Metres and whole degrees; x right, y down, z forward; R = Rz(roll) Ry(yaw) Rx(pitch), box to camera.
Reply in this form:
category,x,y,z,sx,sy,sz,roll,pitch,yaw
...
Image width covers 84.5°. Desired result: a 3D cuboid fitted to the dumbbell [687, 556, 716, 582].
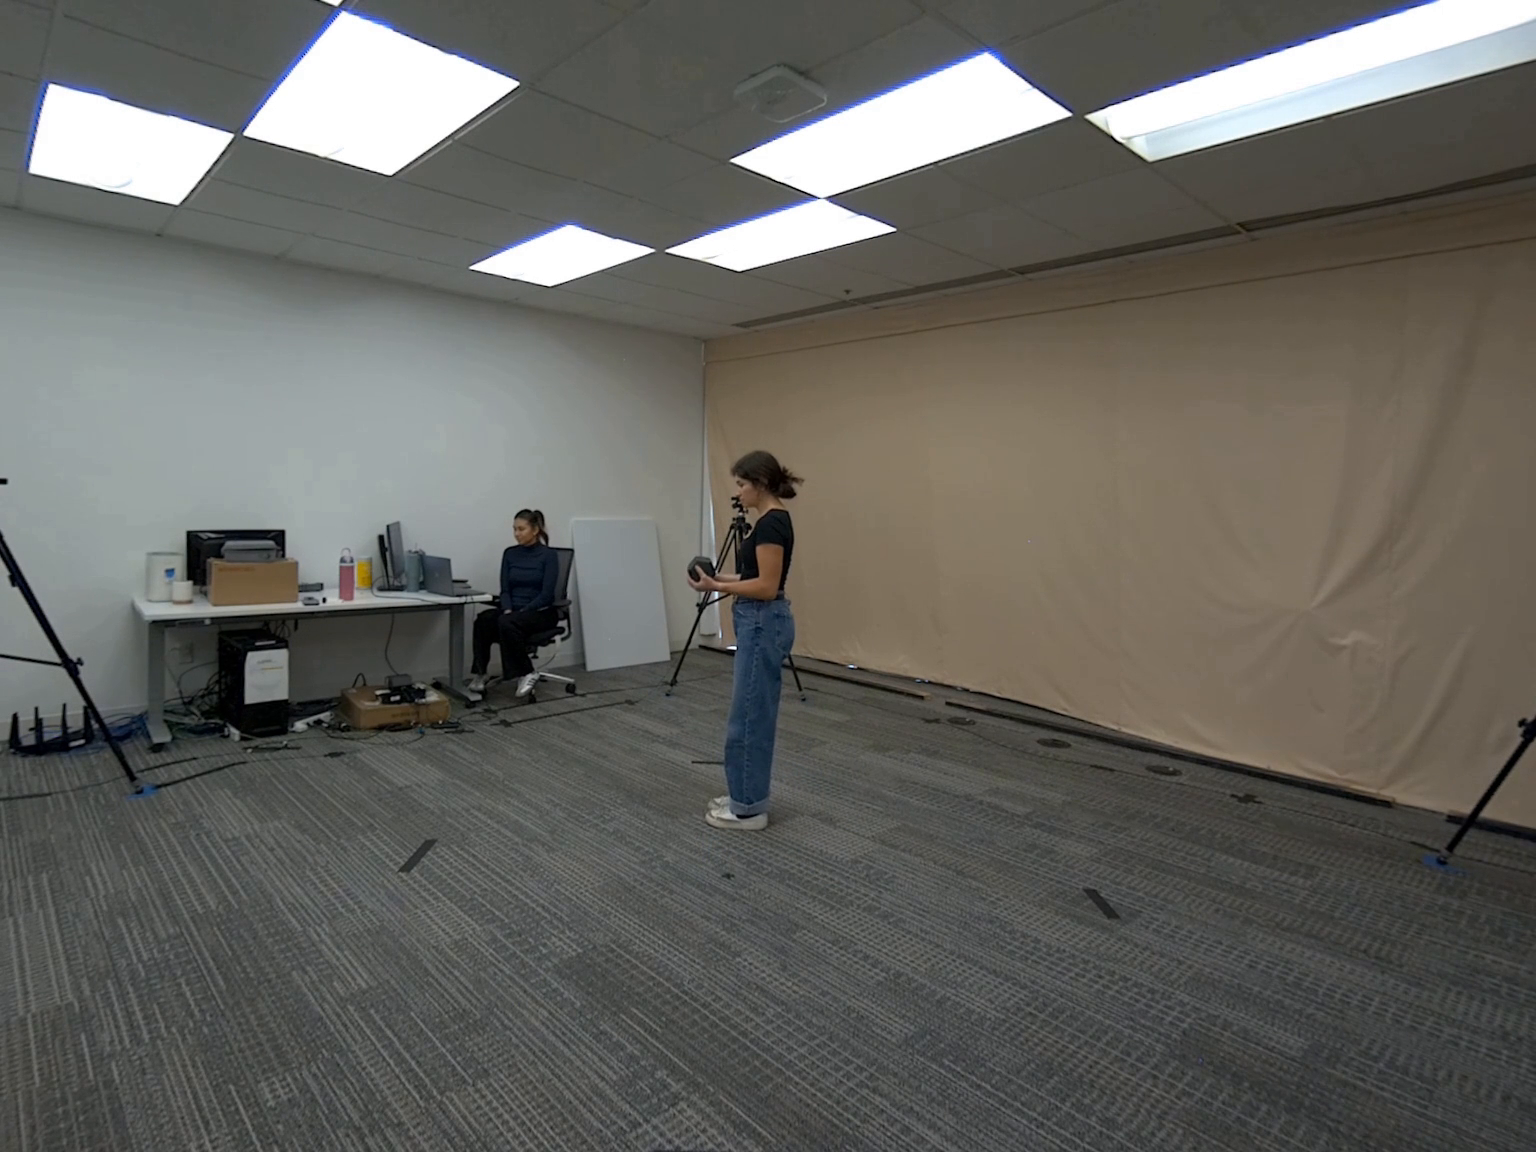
category,x,y,z,sx,sy,sz,roll,pitch,yaw
dumbbell,-0.287,-0.030,3.635,0.108,0.122,0.295,-27,5,-2
